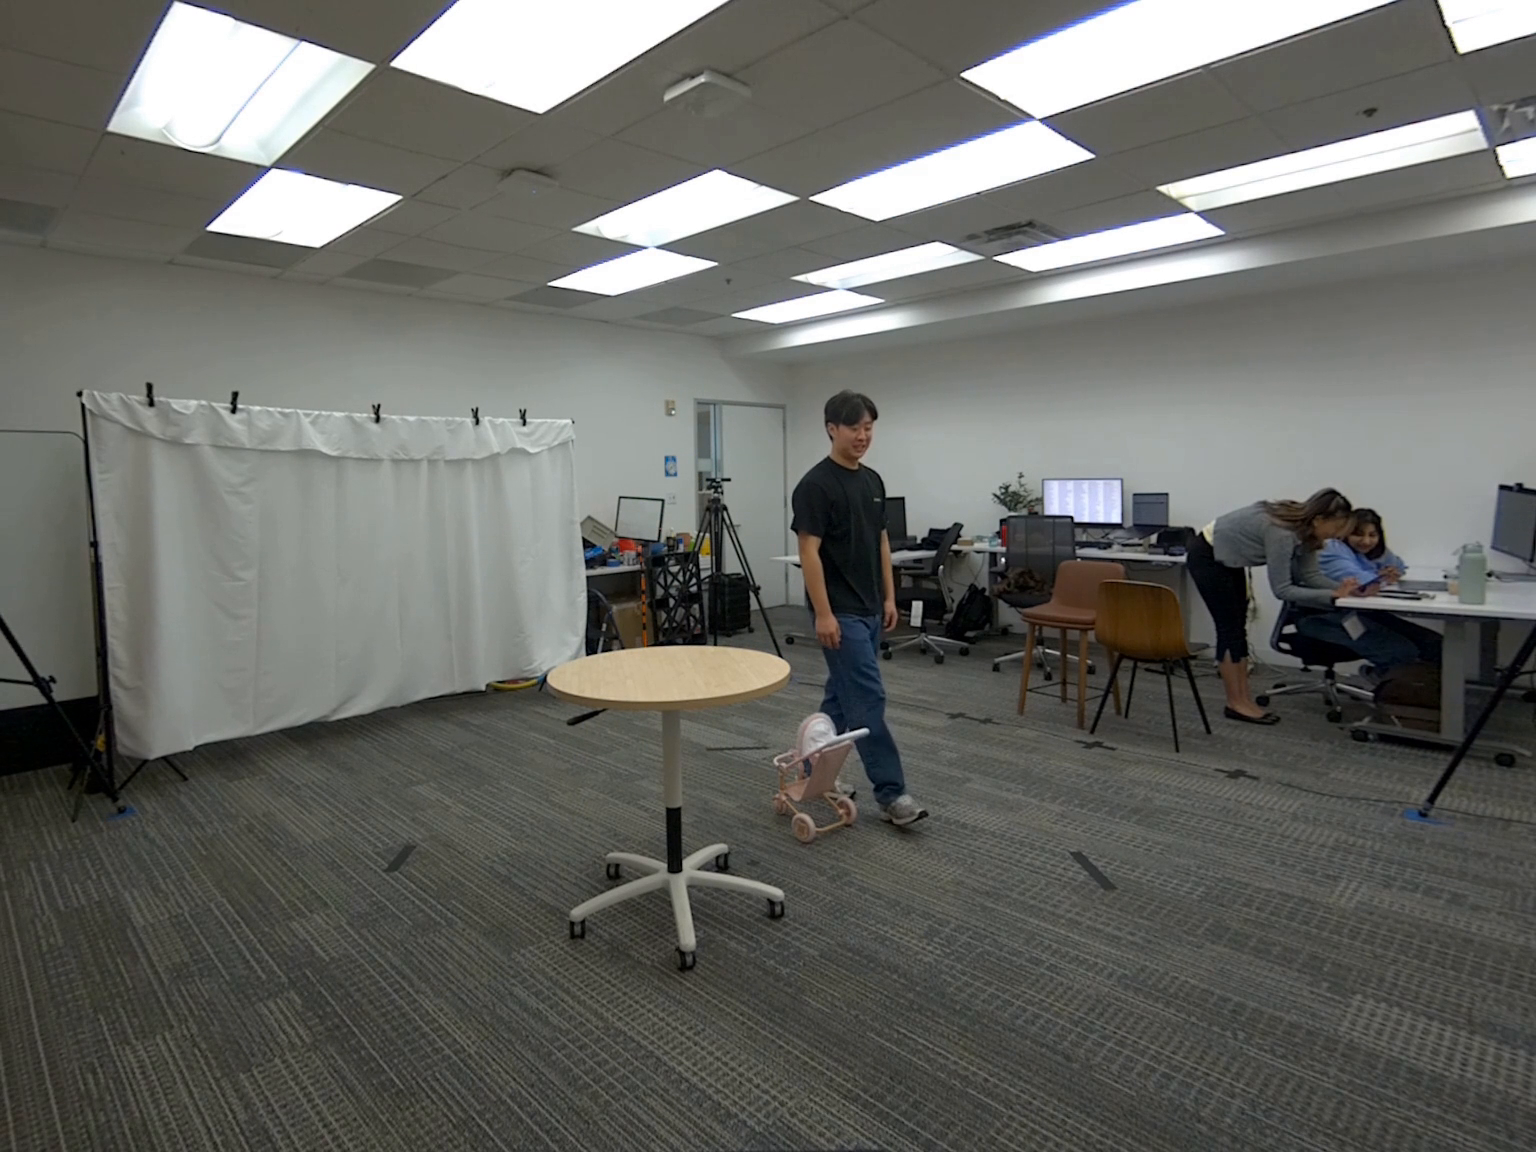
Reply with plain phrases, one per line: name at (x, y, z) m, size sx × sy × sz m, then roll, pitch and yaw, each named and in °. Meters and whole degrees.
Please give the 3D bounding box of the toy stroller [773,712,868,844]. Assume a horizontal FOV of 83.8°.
toy stroller at (0.185, 0.780, 3.396) m, size 0.274 × 0.529 × 0.354 m, roll -4°, pitch 21°, yaw -38°
